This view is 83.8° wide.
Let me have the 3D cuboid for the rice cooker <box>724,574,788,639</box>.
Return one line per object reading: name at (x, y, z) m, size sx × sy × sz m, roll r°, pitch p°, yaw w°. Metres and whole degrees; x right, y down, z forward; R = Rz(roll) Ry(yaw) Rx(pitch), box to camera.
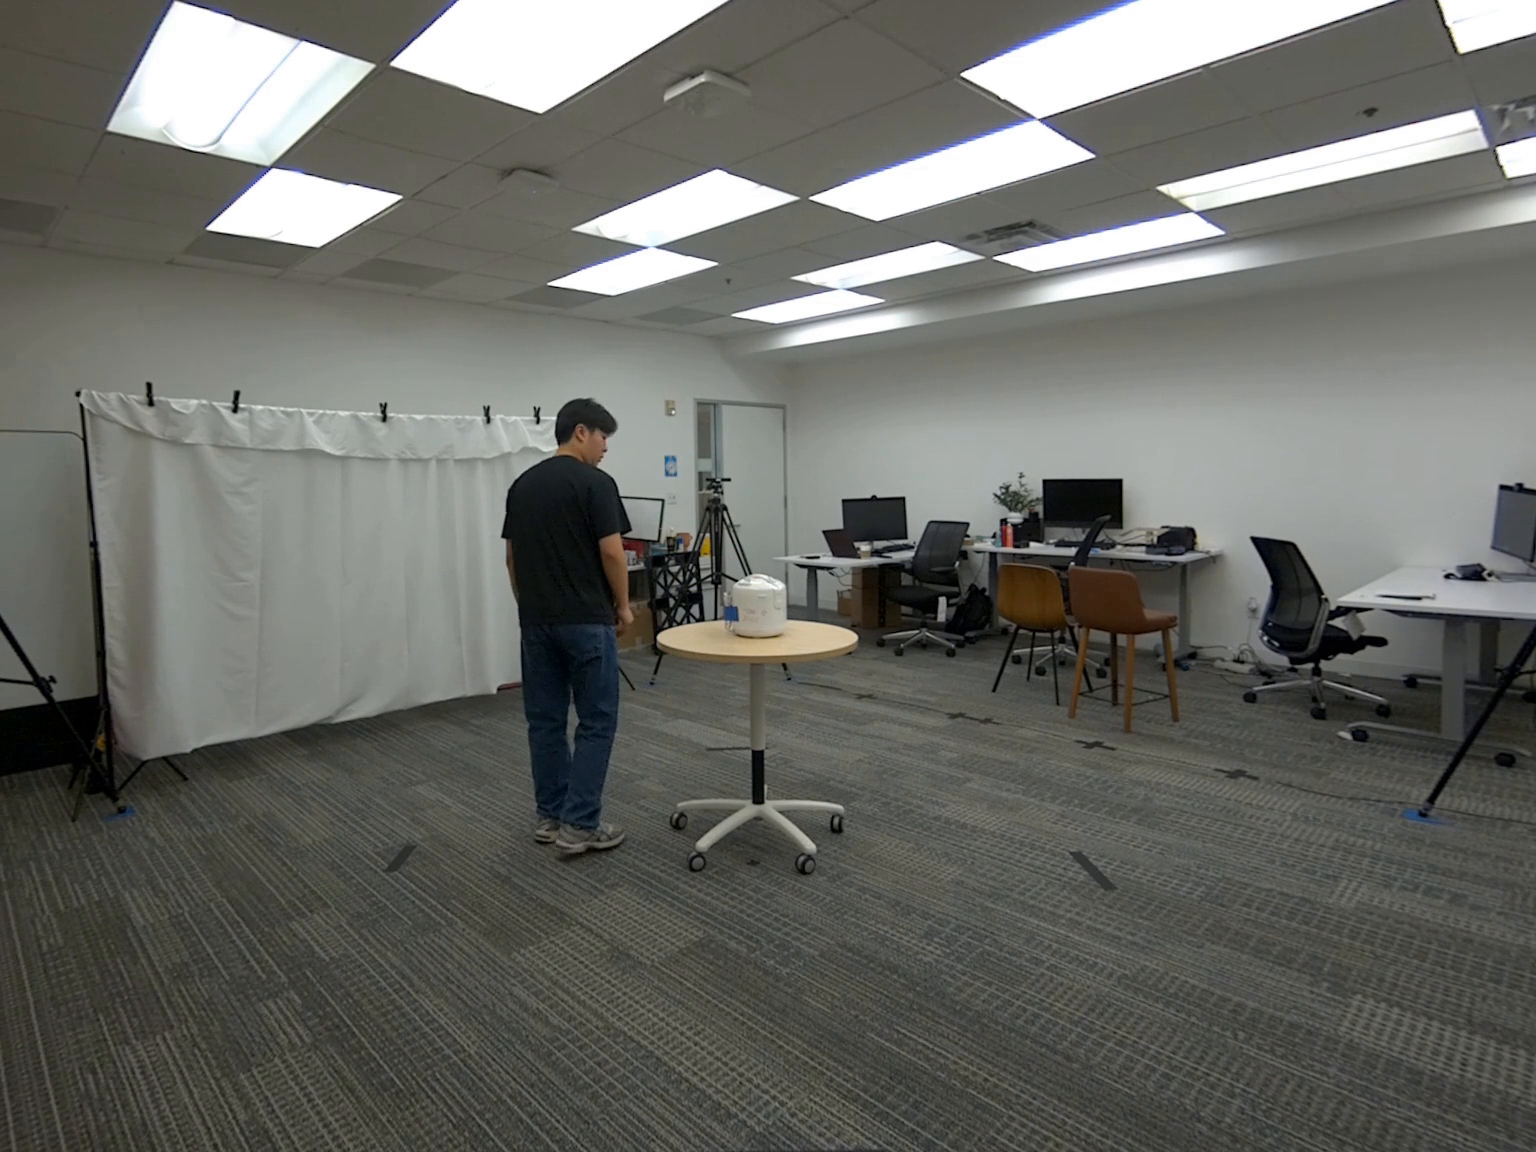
rice cooker at (-0.033, 0.106, 3.283) m, size 0.212 × 0.231 × 0.227 m, roll -6°, pitch 8°, yaw -43°
